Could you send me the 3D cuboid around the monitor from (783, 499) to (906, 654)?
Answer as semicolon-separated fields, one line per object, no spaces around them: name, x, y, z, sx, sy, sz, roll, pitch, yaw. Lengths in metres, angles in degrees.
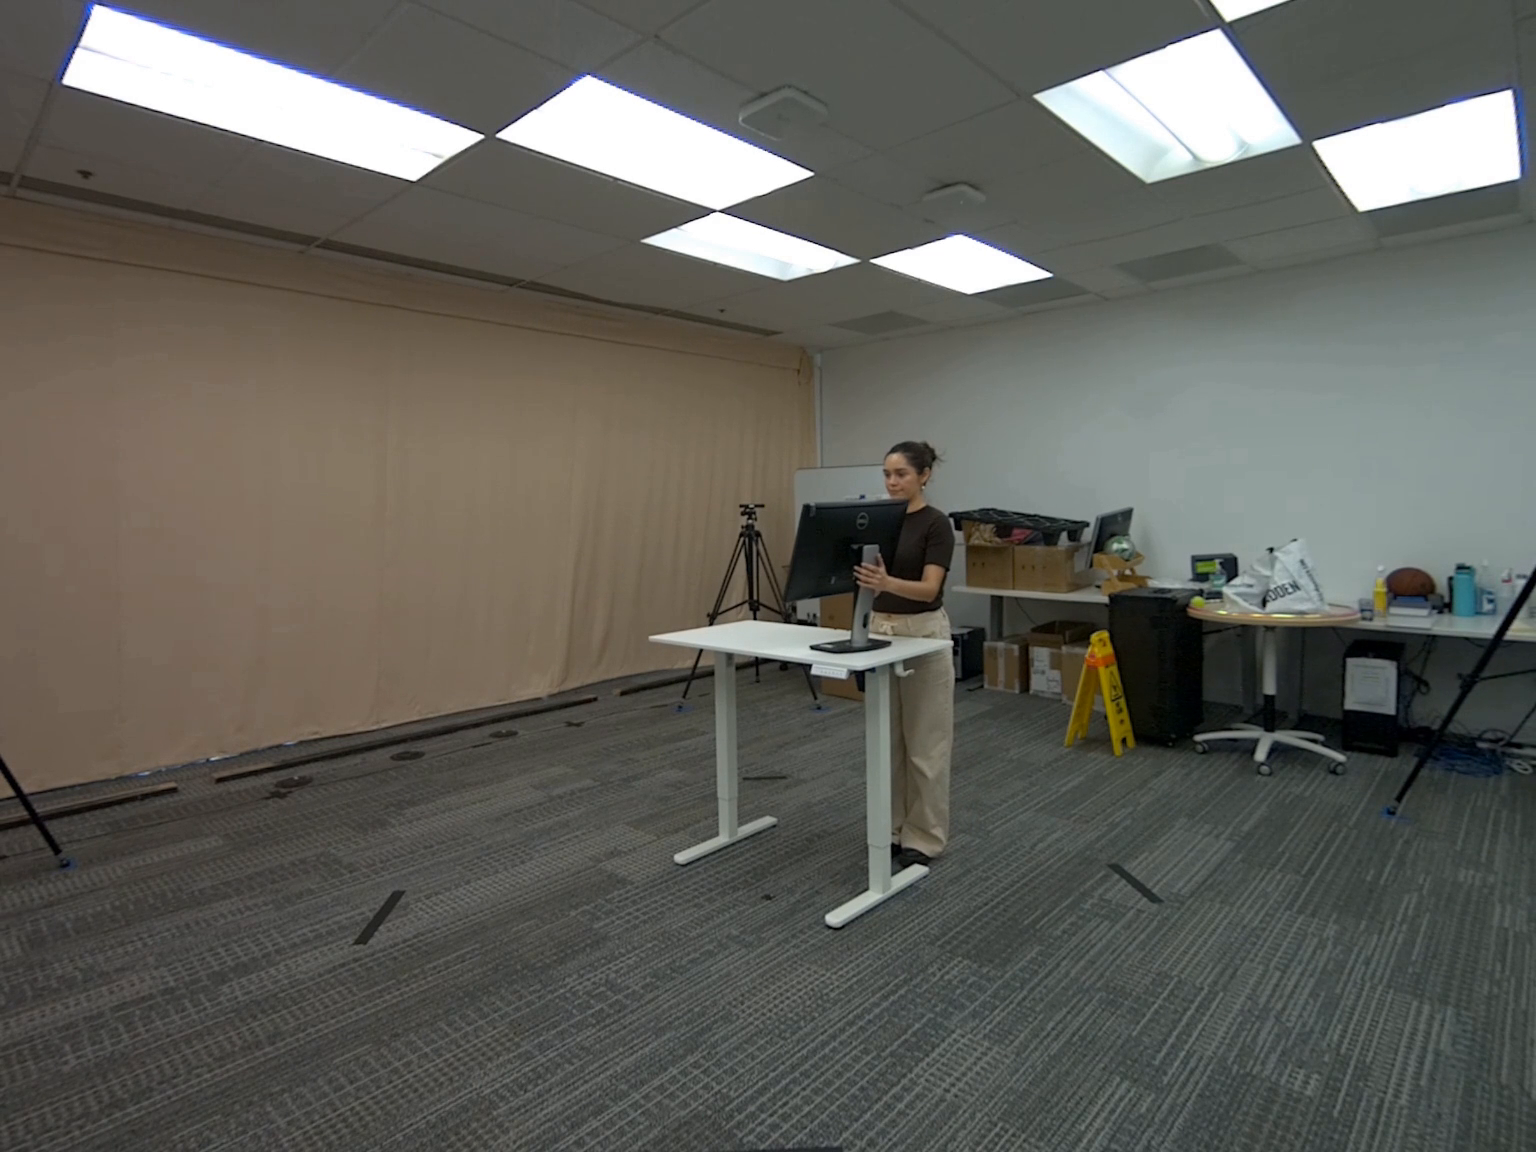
monitor;0.316;0.000;2.927;0.523;0.520;0.193;-5;11;-37
